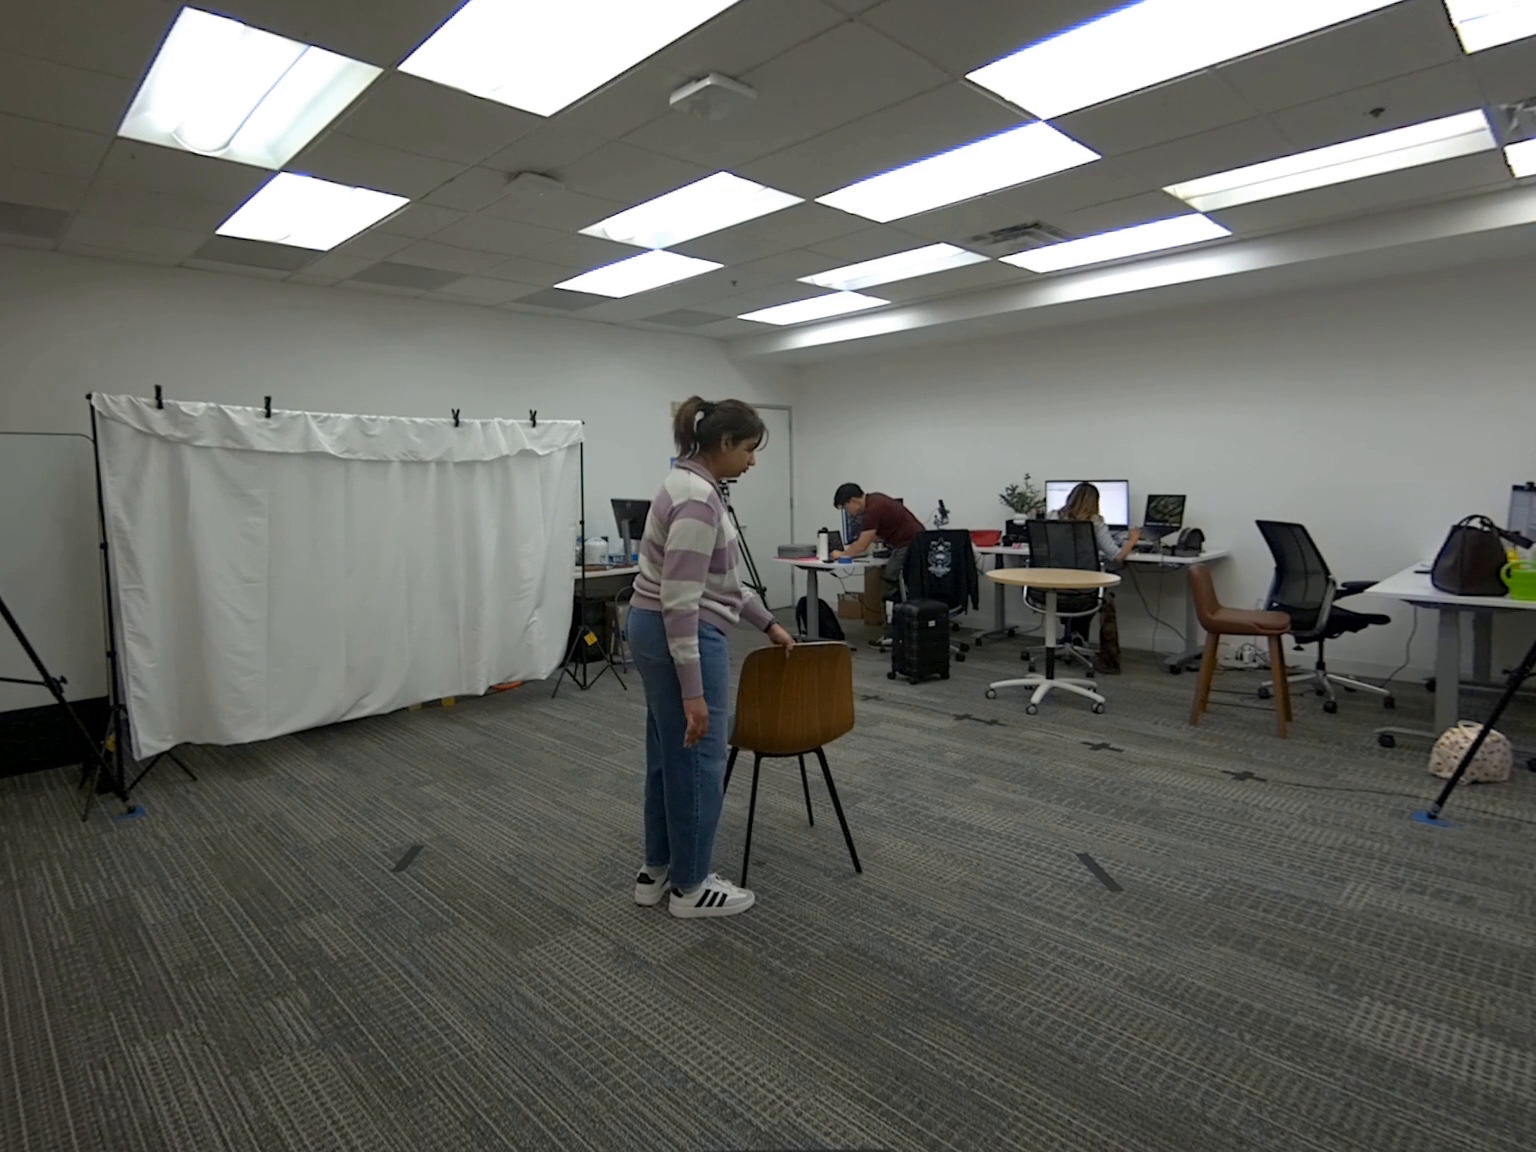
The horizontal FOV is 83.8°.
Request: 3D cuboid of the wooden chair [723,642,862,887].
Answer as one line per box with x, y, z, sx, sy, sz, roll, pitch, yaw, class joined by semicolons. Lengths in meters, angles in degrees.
0.035;0.615;3.155;0.471;0.871;0.535;-3;9;-18;wooden chair
